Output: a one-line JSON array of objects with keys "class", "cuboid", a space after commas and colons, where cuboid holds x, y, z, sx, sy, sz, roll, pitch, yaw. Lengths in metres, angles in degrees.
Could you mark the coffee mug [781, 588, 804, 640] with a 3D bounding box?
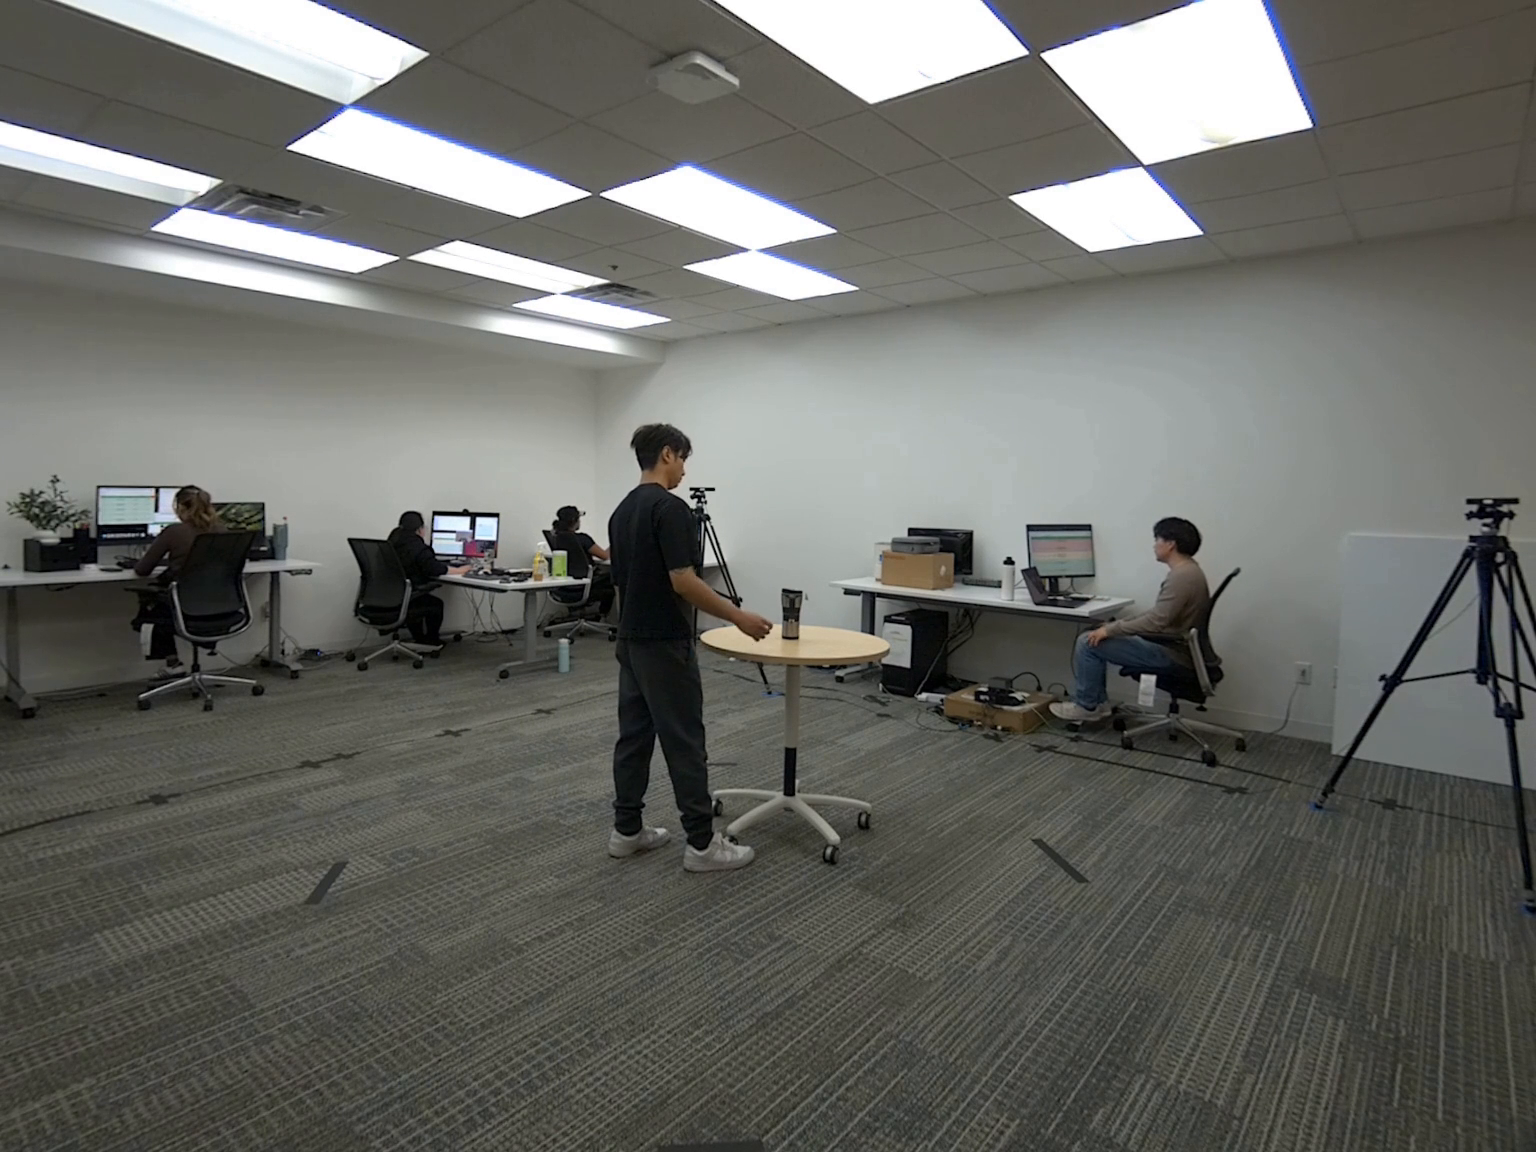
[{"class": "coffee mug", "cuboid": [0.072, 0.157, 3.466, 0.091, 0.202, 0.118, 7, 3, 36]}]
